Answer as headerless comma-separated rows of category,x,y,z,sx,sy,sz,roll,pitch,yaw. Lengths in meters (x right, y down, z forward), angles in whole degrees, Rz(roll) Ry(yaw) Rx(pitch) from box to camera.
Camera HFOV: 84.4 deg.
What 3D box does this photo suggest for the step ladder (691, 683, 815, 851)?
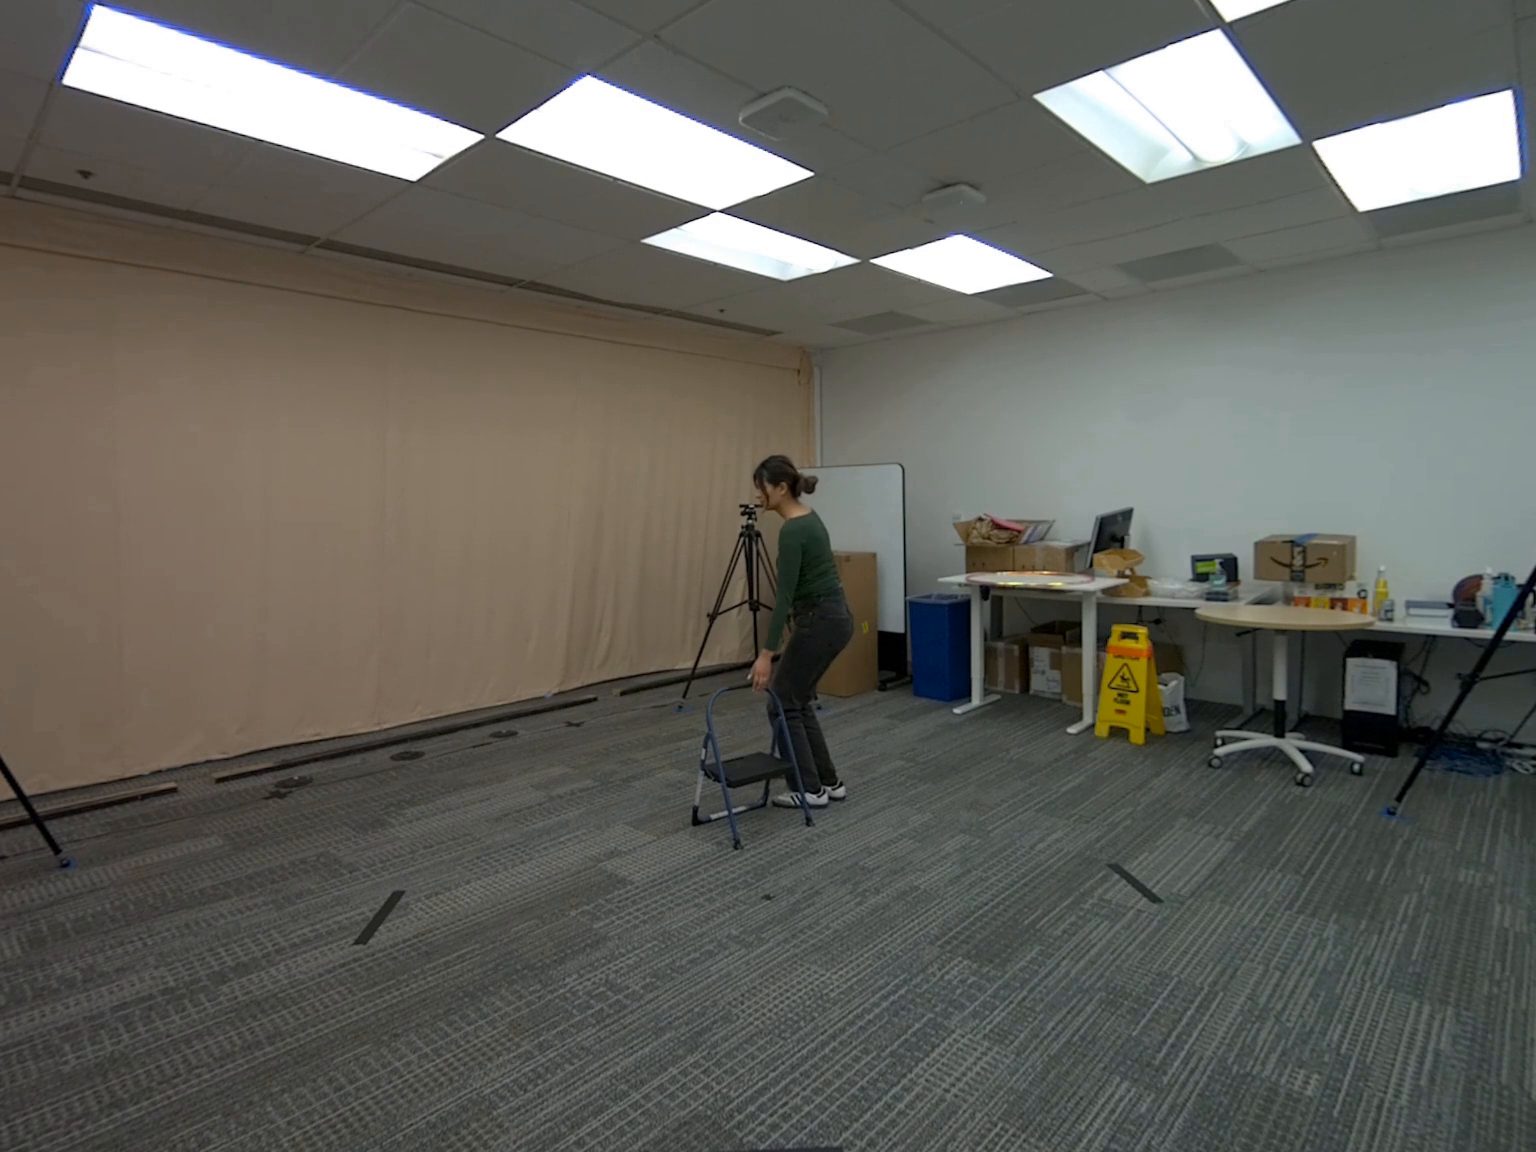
step ladder,-0.072,0.783,3.642,0.418,0.605,0.360,-3,4,-38
